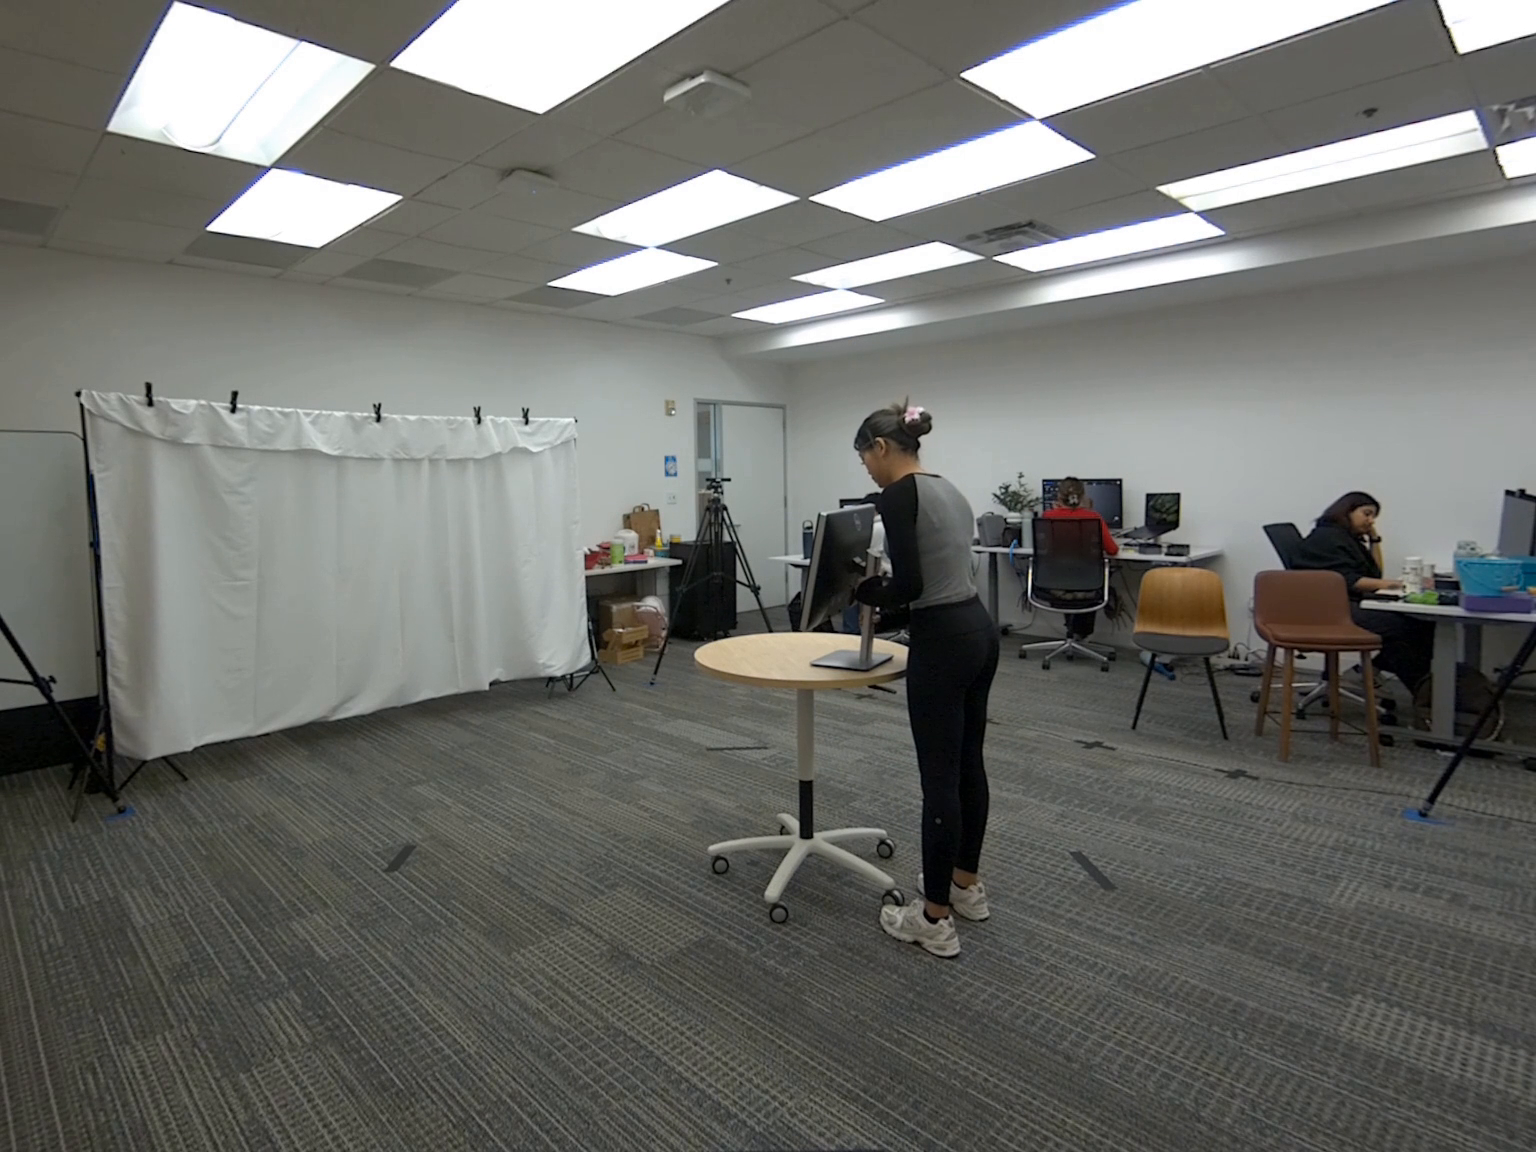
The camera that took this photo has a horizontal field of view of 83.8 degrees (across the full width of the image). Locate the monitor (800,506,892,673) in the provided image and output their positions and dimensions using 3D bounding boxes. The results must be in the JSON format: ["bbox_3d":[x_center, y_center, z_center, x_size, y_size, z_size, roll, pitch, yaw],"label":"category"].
[{"bbox_3d":[0.278,0.041,2.789,0.191,0.521,0.530,-1,5,23],"label":"monitor"}]
